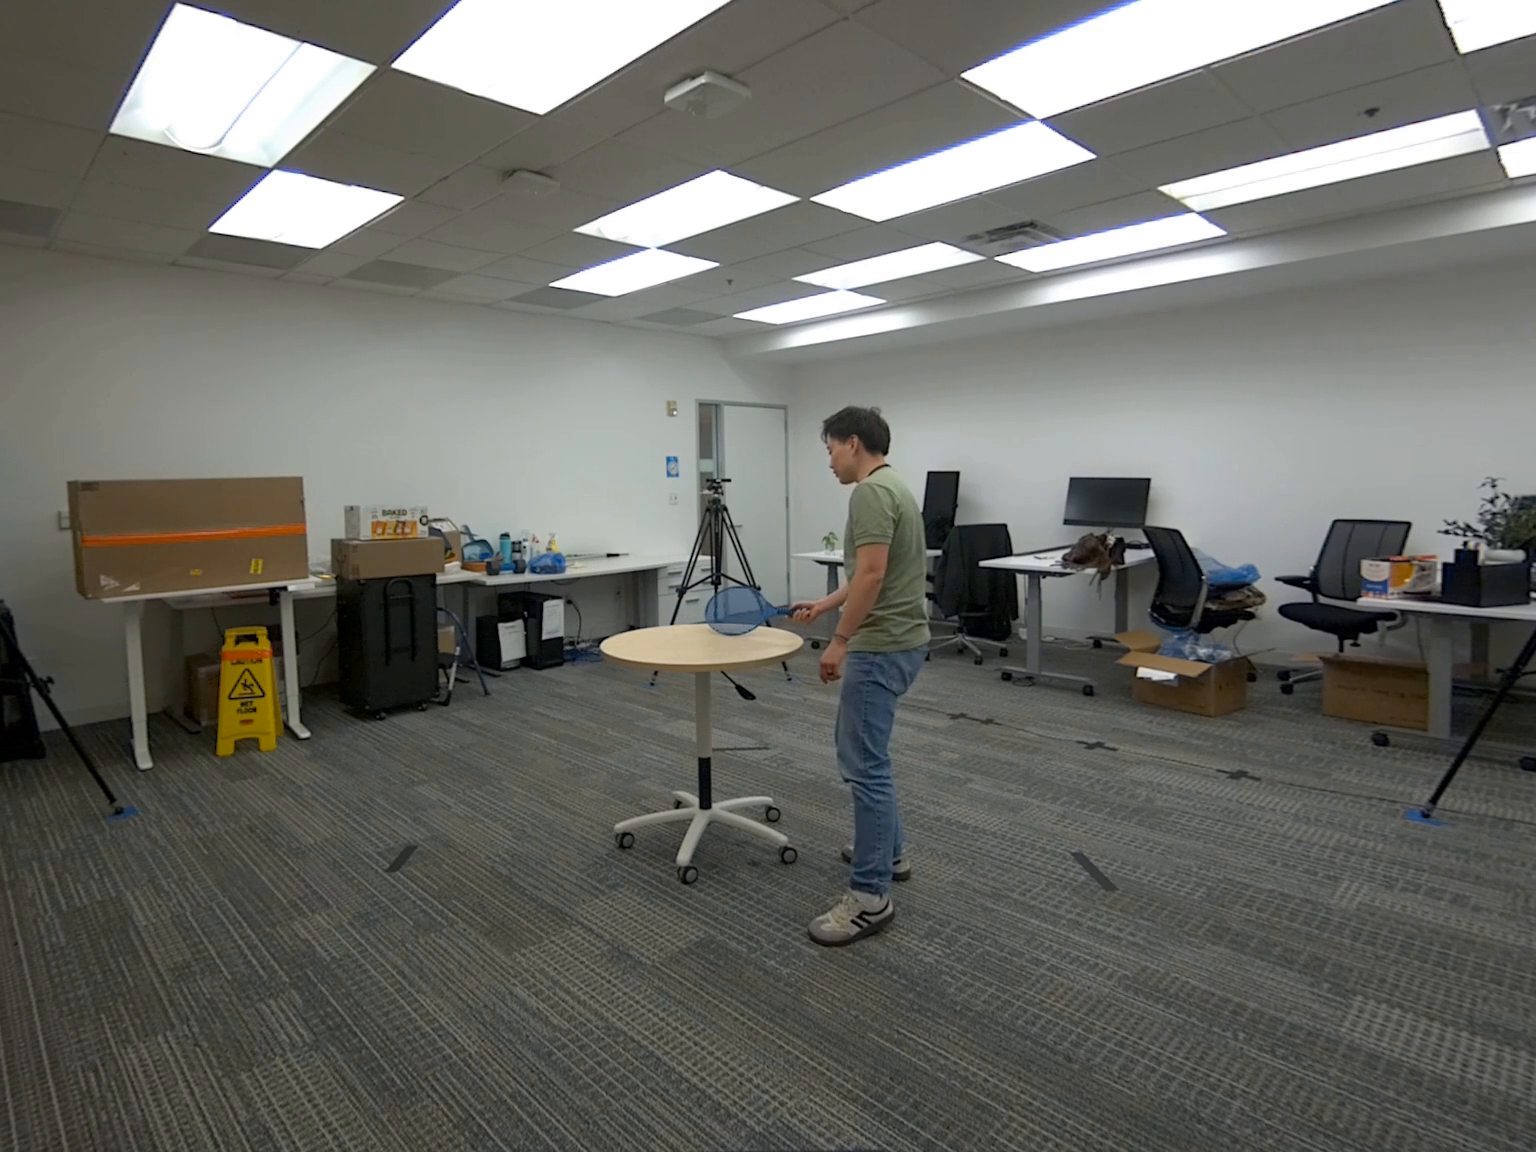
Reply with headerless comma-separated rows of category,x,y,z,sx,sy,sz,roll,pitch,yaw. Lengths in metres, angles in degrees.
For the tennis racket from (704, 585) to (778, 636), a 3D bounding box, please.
tennis racket,-0.054,0.139,3.357,0.441,0.217,0.030,1,-28,21
